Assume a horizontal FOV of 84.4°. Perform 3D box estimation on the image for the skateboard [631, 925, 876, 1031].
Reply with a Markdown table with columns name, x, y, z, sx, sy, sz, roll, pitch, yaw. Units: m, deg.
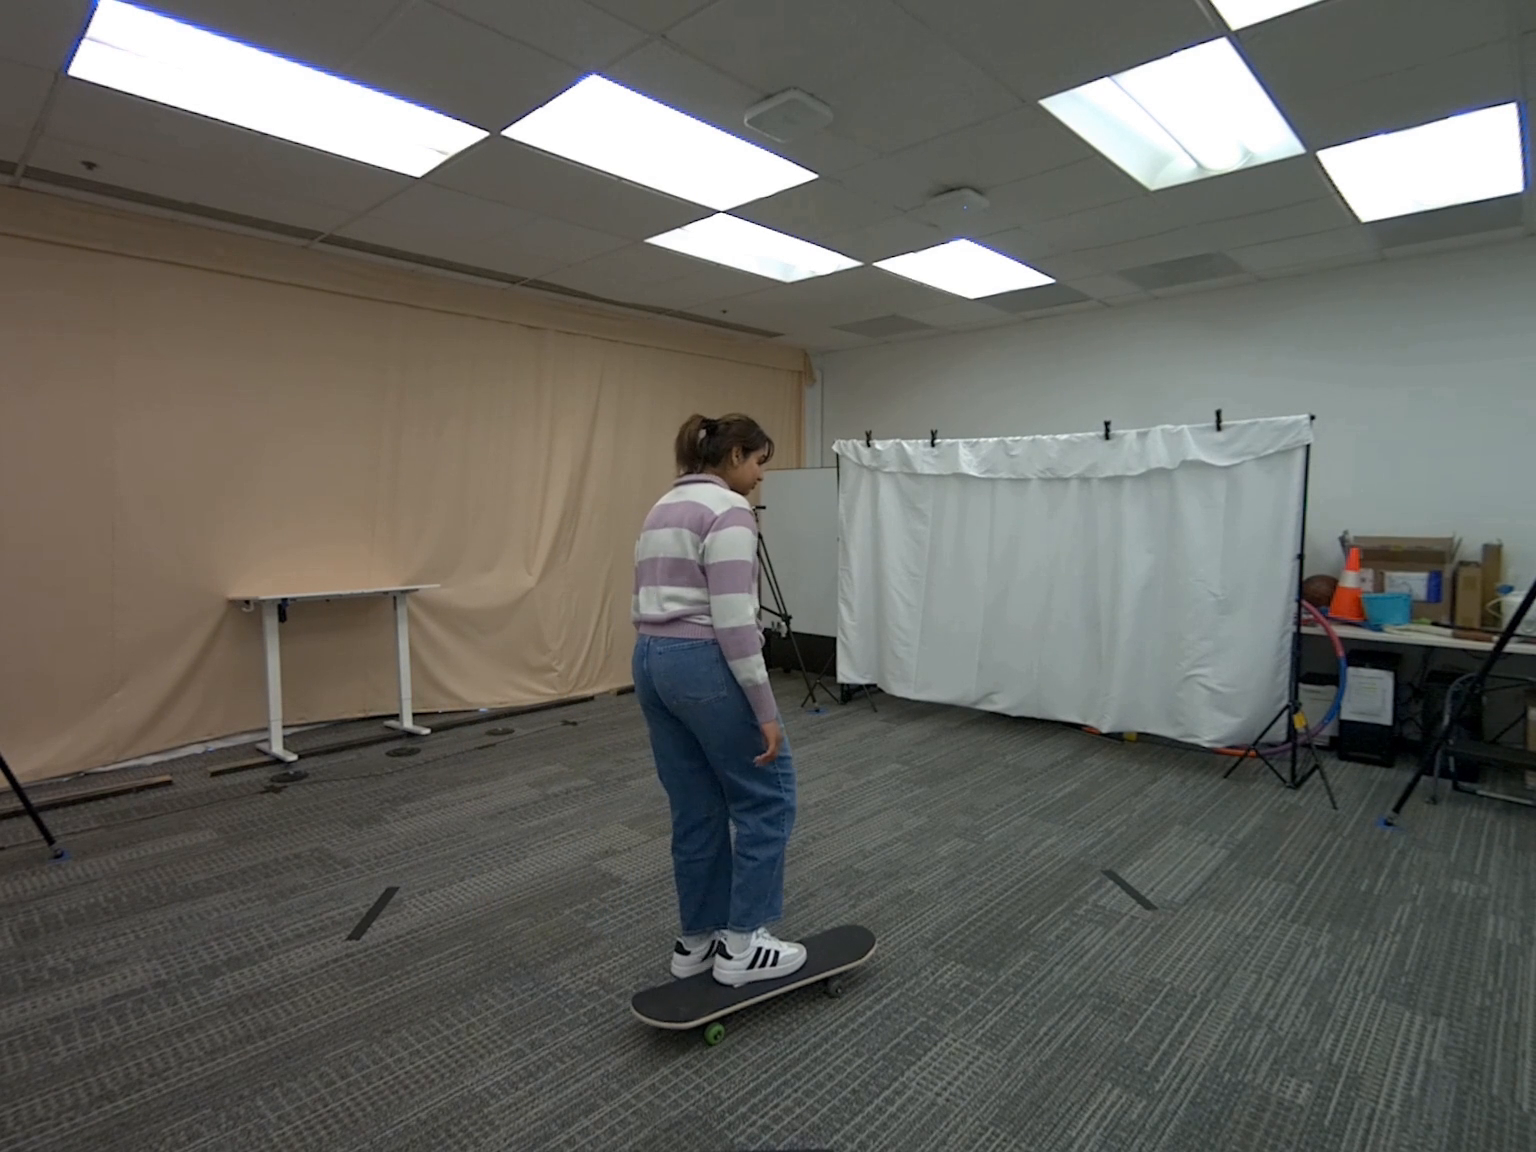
| name | x | y | z | sx | sy | sz | roll | pitch | yaw |
| --- | --- | --- | --- | --- | --- | --- | --- | --- | --- |
| skateboard | -0.009 | 1.139 | 2.352 | 0.764 | 0.110 | 0.199 | -3 | 5 | -31 |
